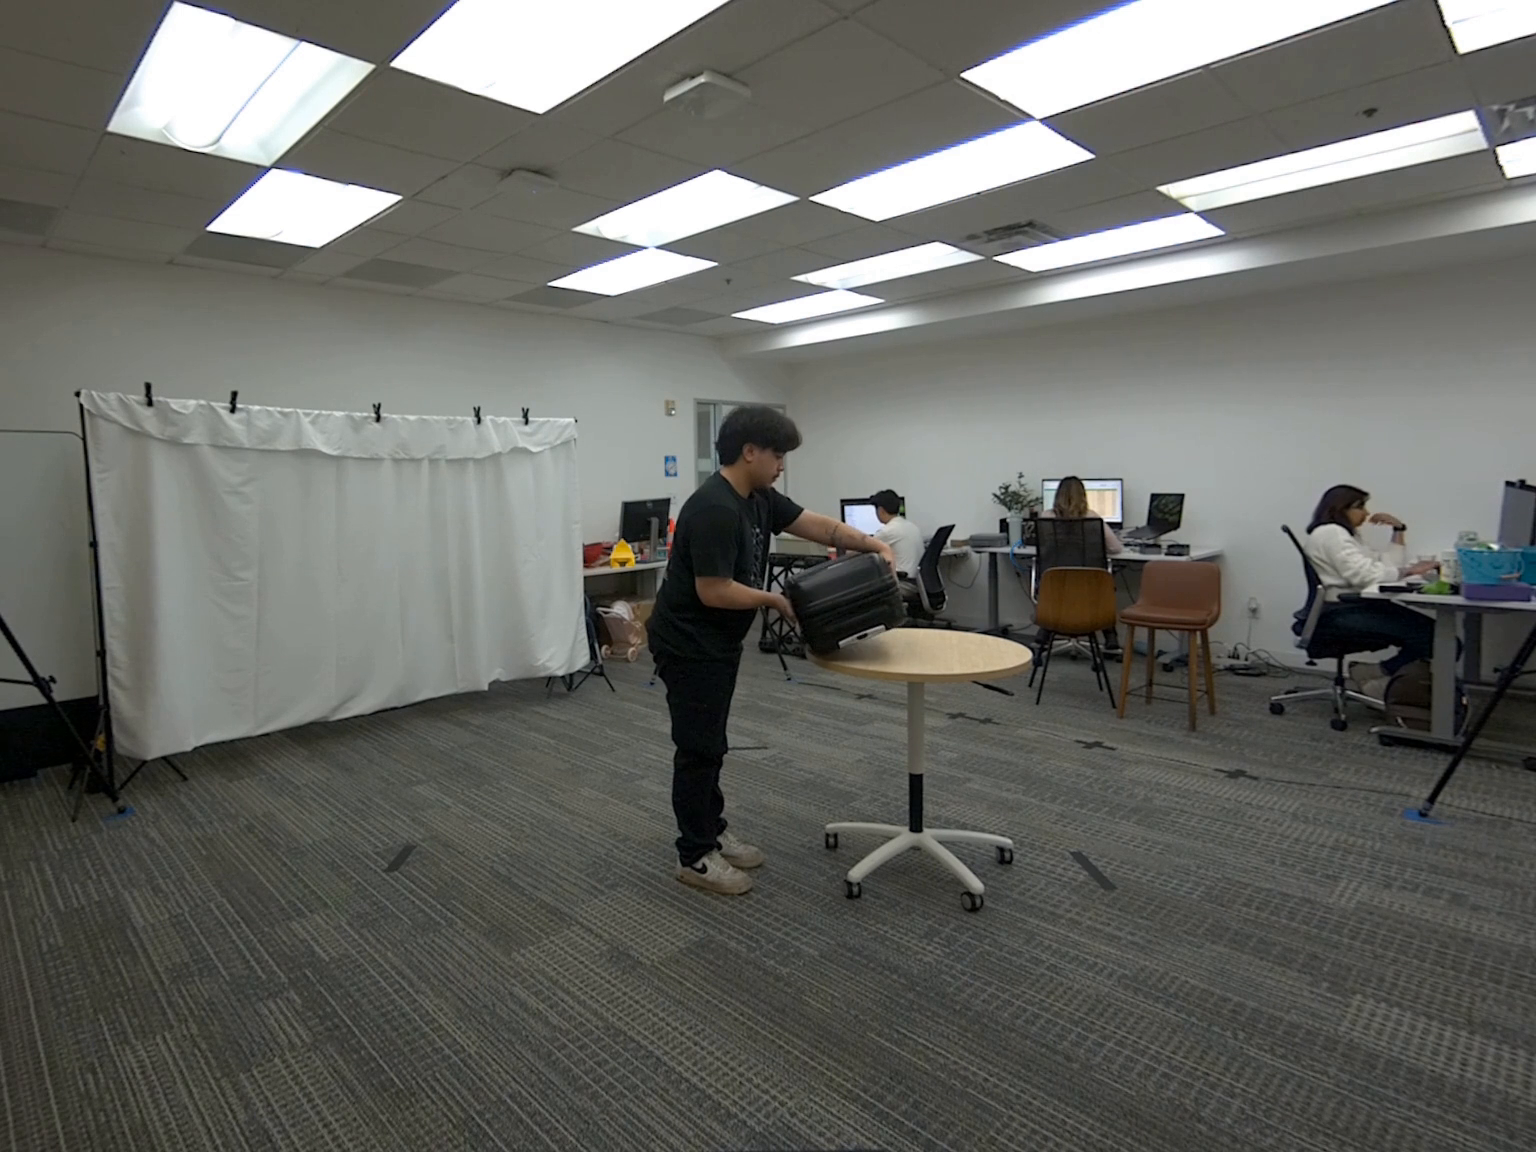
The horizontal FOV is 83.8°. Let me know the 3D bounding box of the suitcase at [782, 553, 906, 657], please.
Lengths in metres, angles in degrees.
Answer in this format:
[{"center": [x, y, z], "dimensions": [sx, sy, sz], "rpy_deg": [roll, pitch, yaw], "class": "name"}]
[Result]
[{"center": [0.249, 0.079, 2.990], "dimensions": [0.376, 0.248, 0.550], "rpy_deg": [-18, 3, 1], "class": "suitcase"}]
